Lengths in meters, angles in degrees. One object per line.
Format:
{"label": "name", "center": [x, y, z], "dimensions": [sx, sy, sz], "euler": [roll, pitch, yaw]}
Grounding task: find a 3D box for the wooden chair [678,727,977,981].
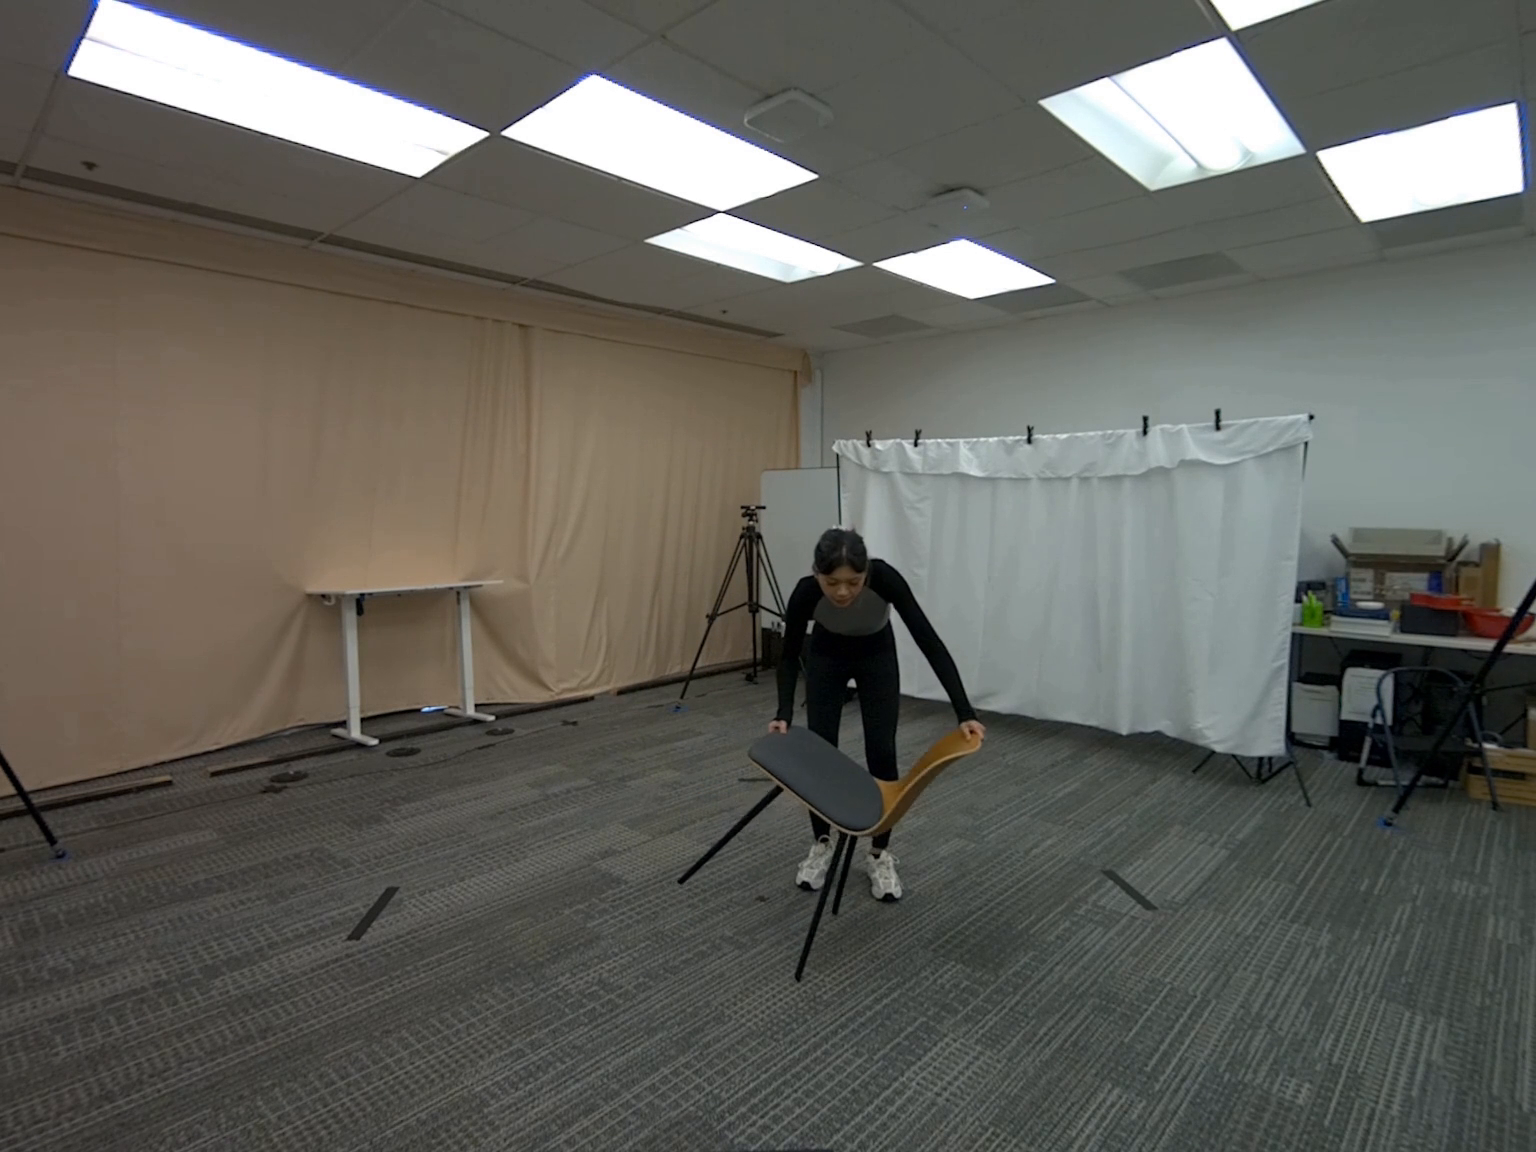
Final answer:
{"label": "wooden chair", "center": [0.179, 0.686, 2.634], "dimensions": [0.534, 0.878, 0.468], "euler": [38, 15, 15]}
